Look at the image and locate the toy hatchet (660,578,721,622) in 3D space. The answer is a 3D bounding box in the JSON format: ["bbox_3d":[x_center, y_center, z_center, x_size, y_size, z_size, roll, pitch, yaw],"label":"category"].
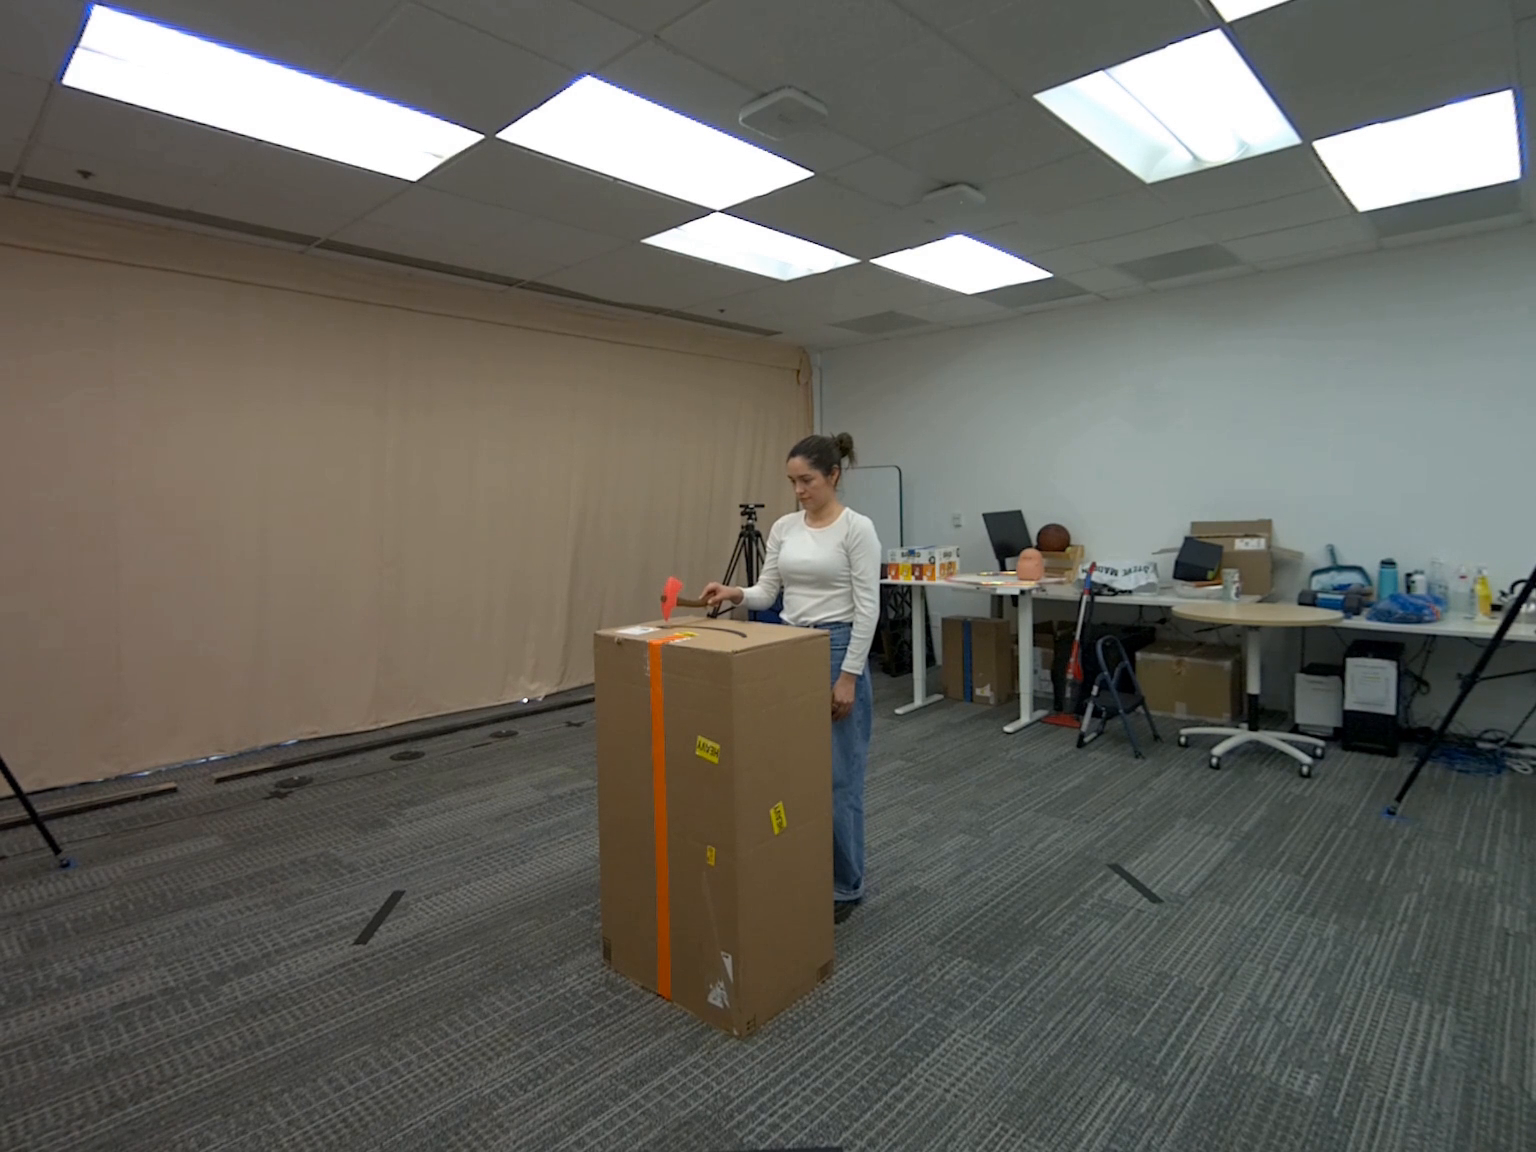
[{"bbox_3d":[-0.252,0.053,2.666,0.030,0.130,0.263,-2,10,36],"label":"toy hatchet"}]
